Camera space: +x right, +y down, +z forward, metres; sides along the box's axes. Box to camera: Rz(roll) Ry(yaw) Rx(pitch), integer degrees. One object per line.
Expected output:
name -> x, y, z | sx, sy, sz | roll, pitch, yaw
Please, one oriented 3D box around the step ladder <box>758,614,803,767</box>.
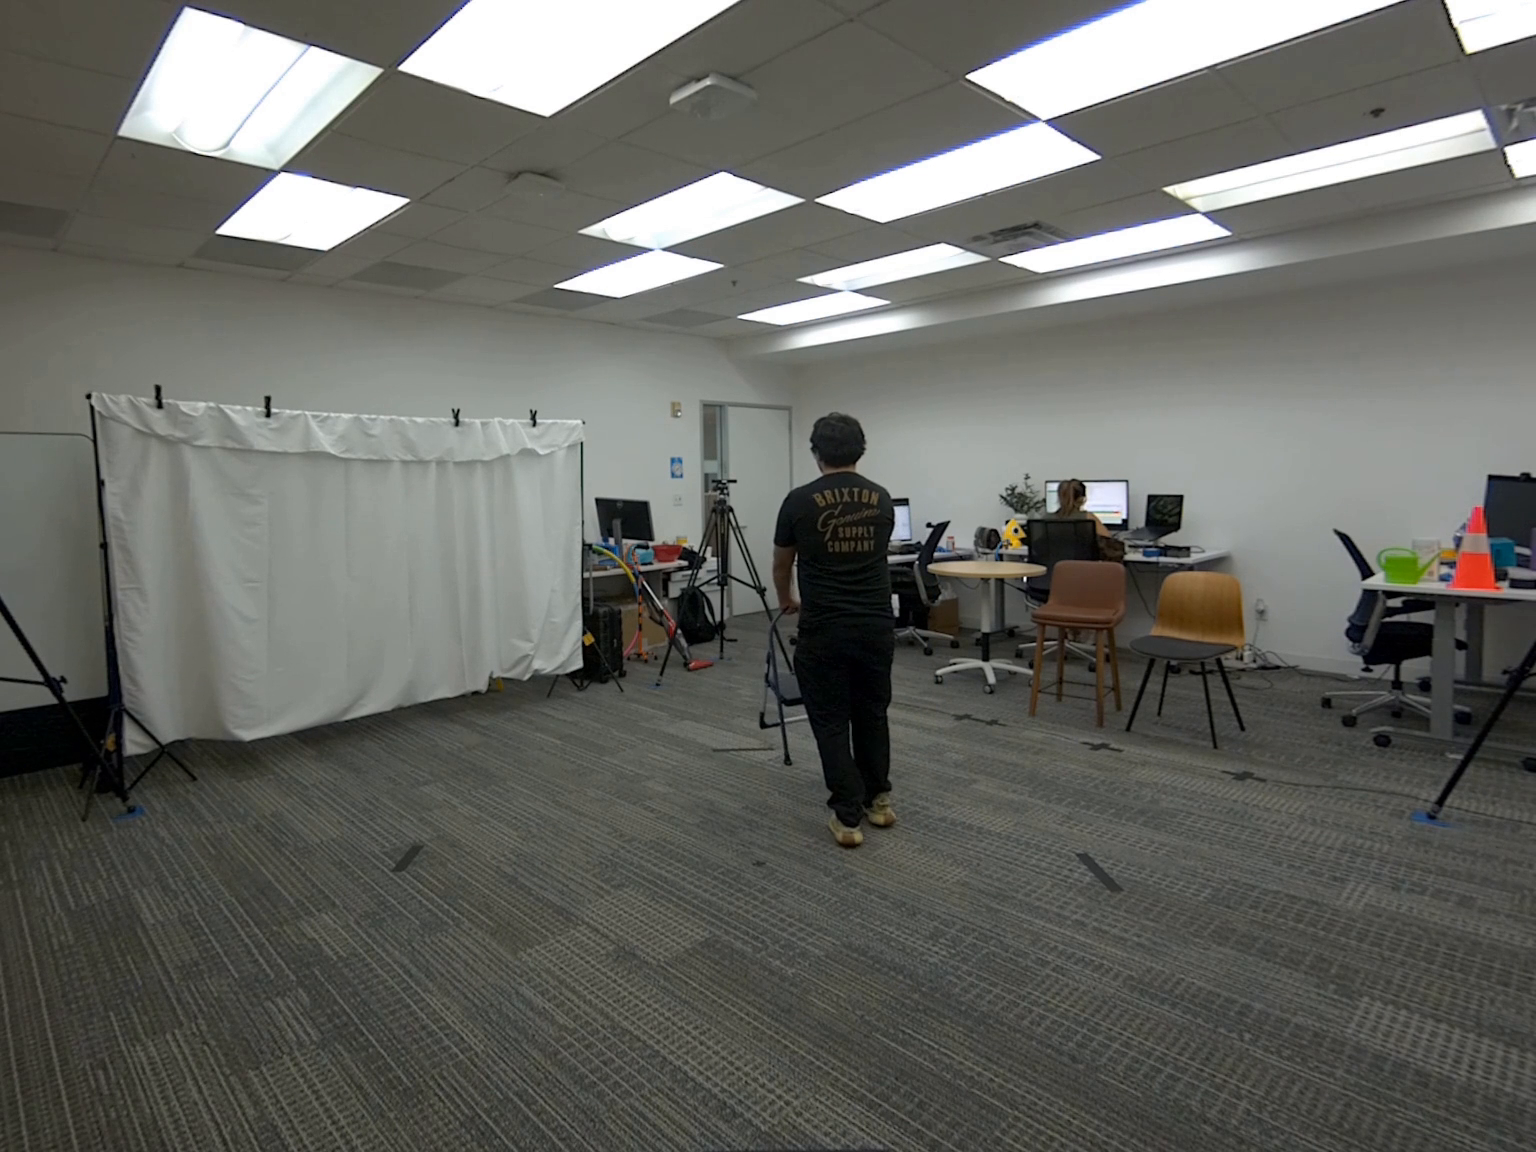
step ladder -> 0.213, 0.435, 3.713 | 0.424, 0.597, 0.360 | -6, 17, -19
